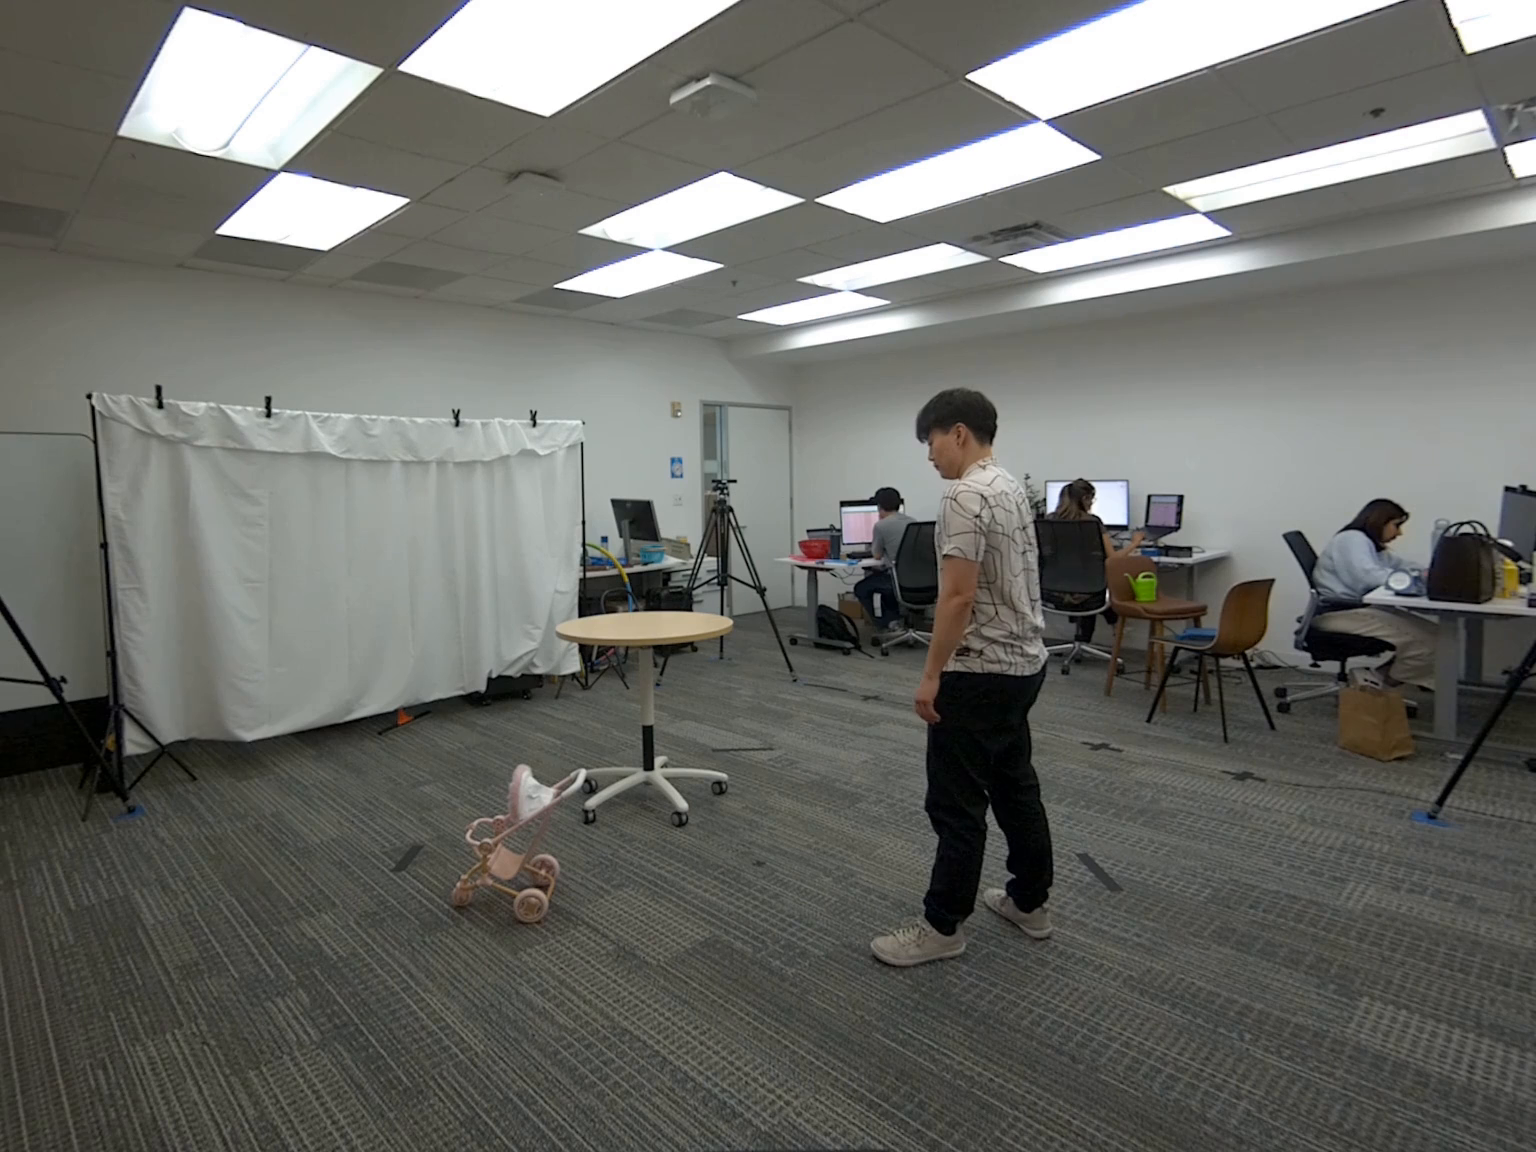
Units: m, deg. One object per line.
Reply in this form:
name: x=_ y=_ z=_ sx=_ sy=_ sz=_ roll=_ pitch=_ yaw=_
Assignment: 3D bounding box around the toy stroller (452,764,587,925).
toy stroller: x=-0.838 y=0.876 z=2.835 sx=0.342 sy=0.533 sz=0.282 roll=15 pitch=5 yaw=1
